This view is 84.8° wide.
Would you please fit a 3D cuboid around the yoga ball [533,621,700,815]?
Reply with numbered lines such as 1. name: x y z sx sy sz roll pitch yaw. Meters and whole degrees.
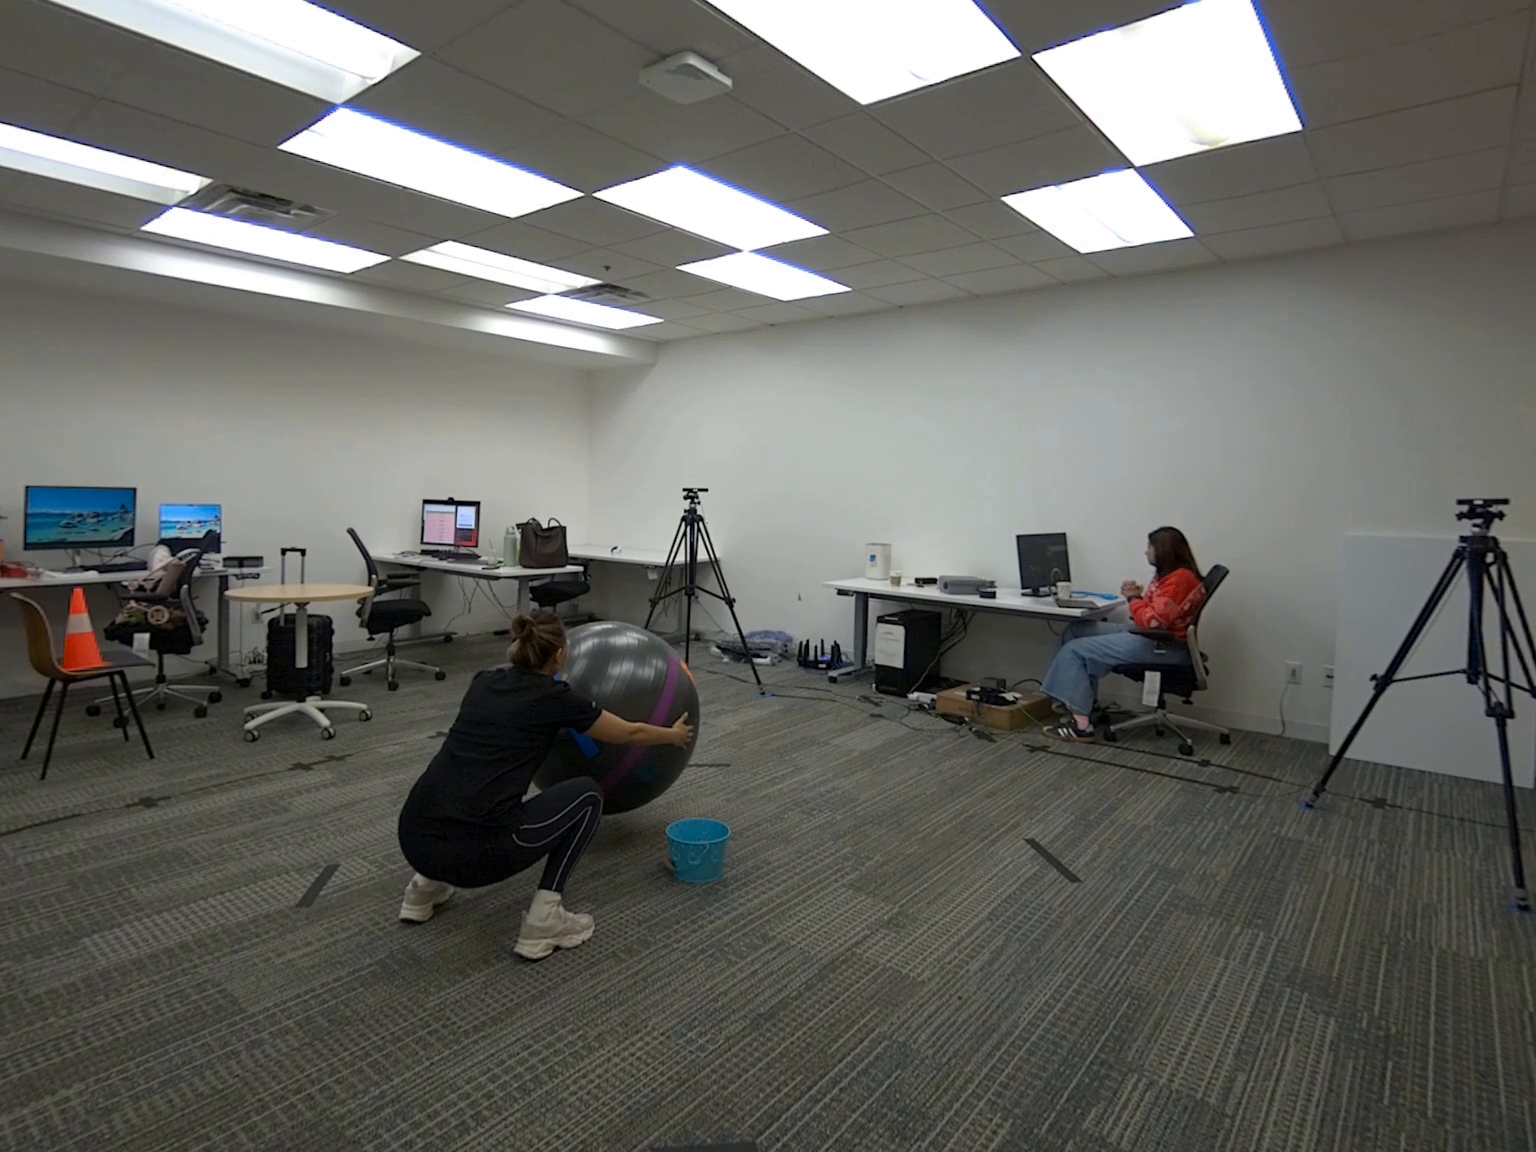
1. yoga ball: -0.658 0.565 3.434 0.757 0.756 0.762 1 4 -2
